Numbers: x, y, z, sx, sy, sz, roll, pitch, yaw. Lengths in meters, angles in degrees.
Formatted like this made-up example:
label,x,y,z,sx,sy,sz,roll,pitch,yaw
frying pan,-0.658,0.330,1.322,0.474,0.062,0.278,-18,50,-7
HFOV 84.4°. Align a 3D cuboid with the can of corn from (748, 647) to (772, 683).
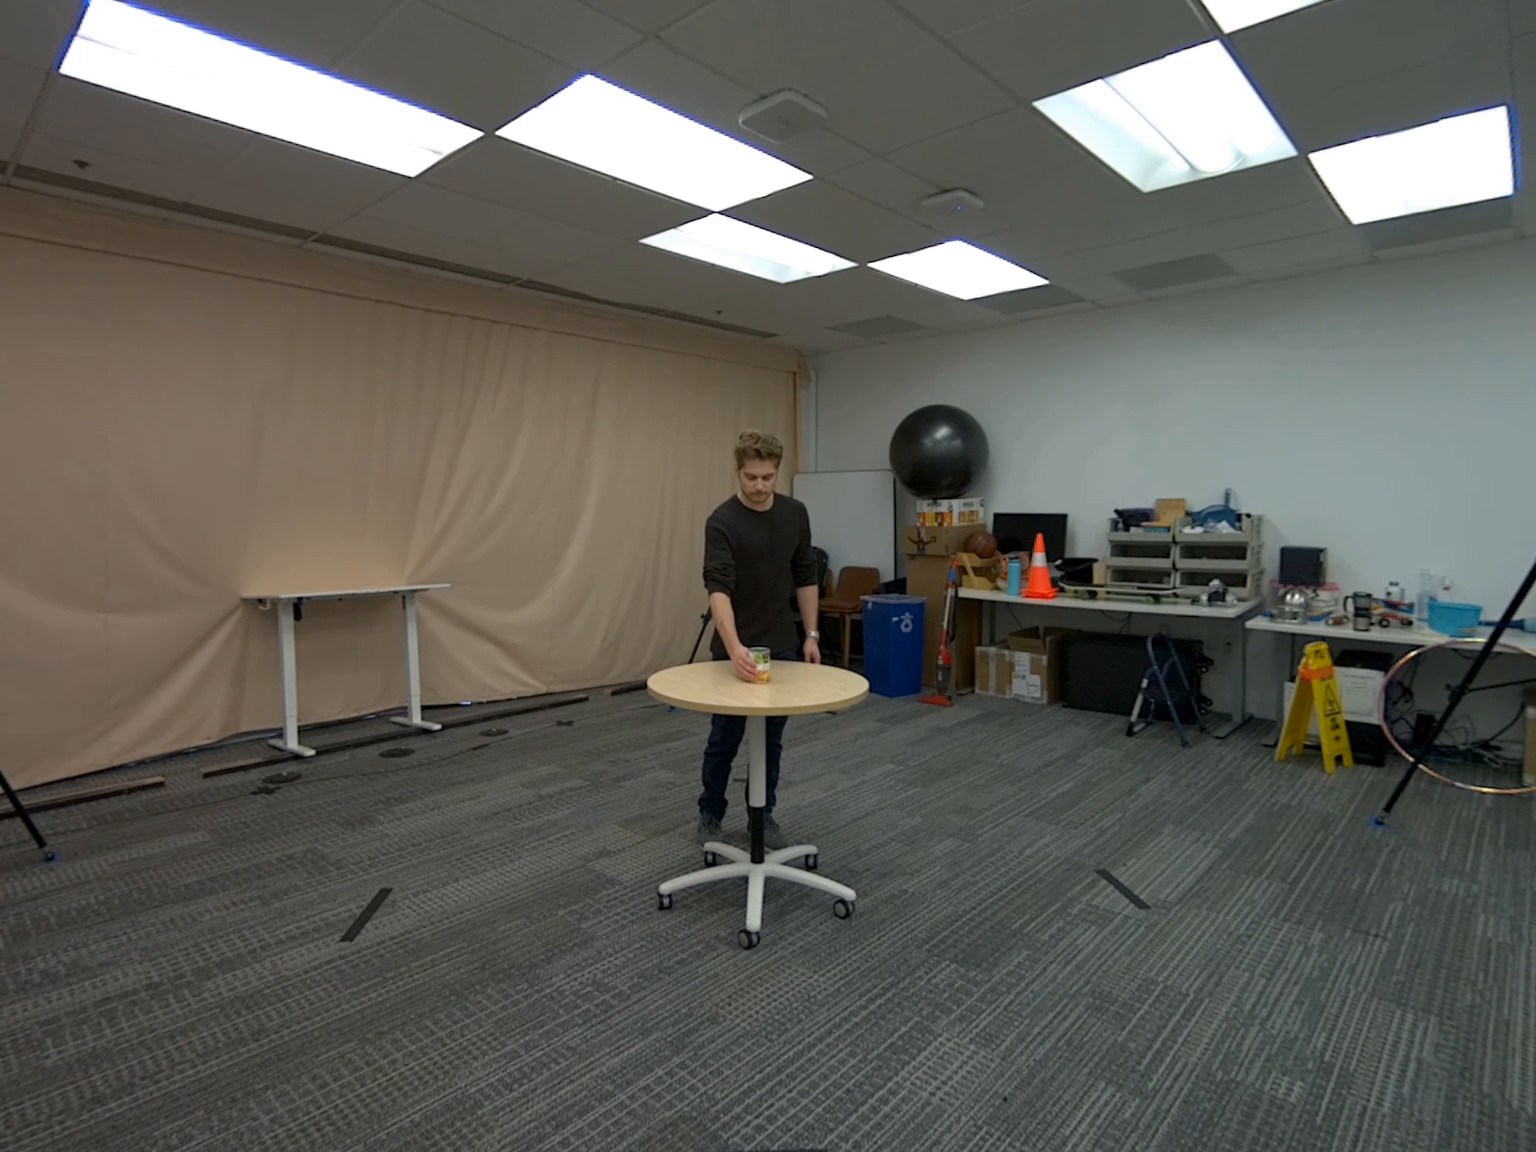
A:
label,x,y,z,sx,sy,sz,roll,pitch,yaw
can of corn,-0.026,0.307,2.909,0.074,0.111,0.074,0,2,-2
